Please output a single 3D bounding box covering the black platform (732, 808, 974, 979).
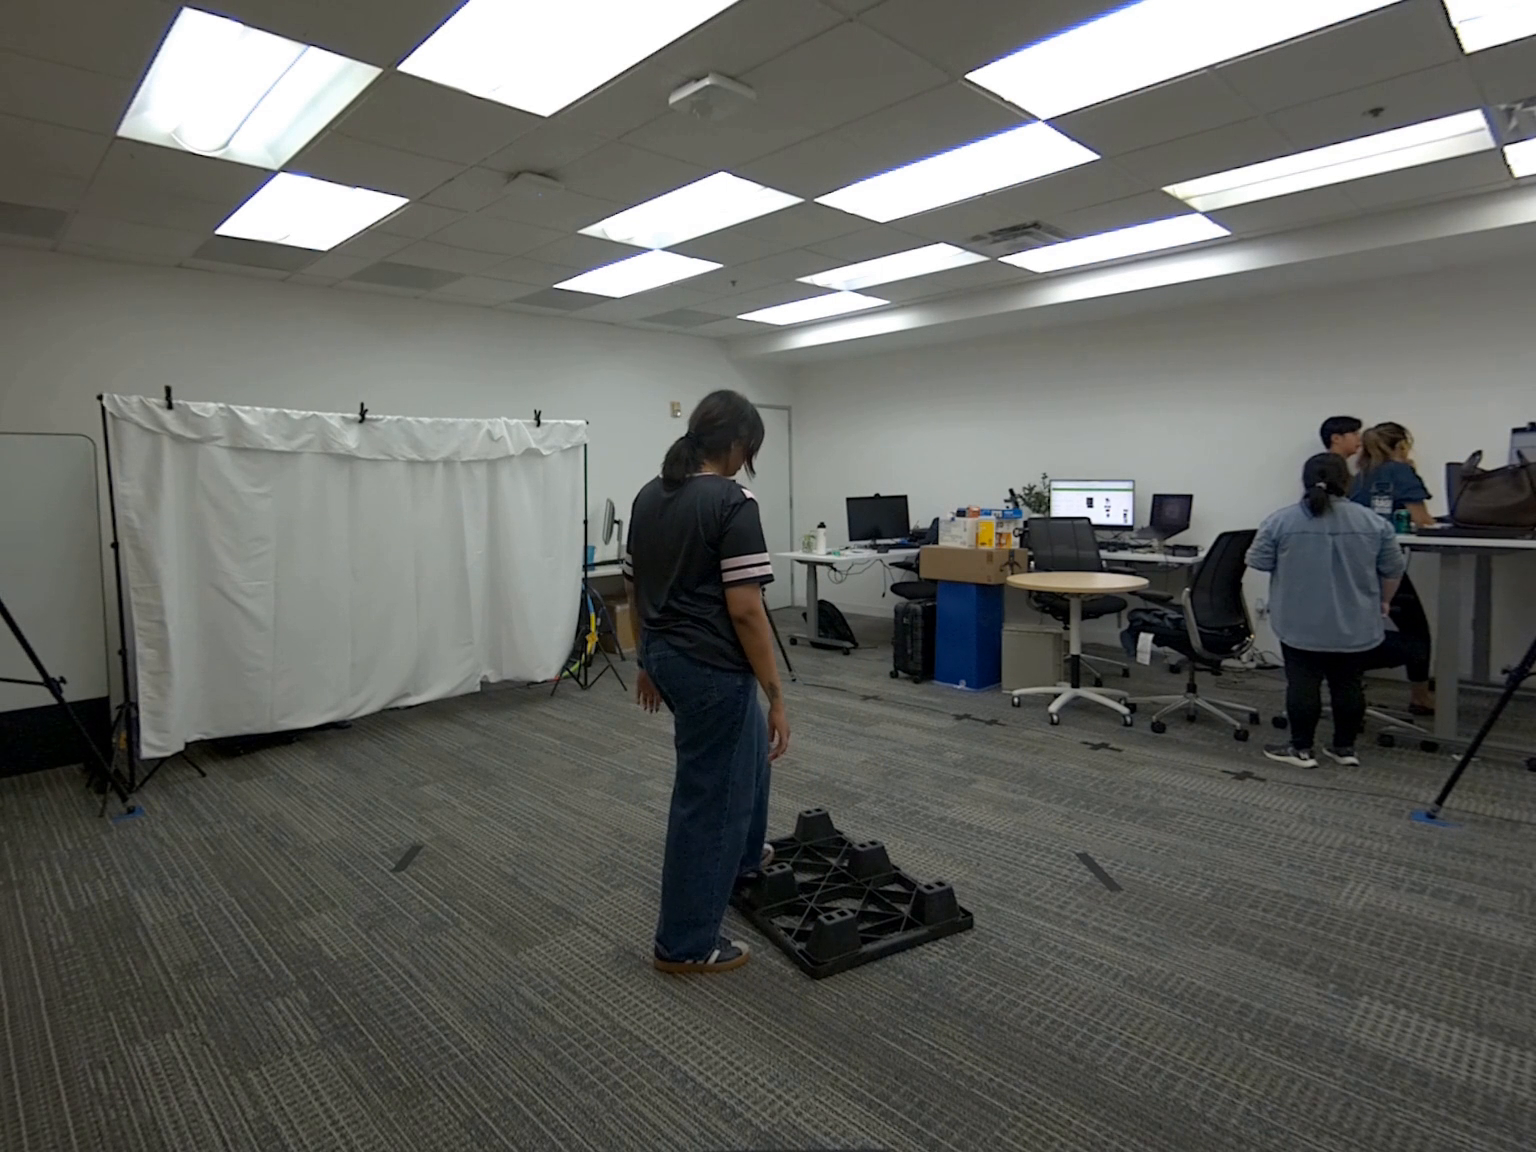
[{"bbox_3d":[0.183,1.005,2.864,0.591,0.143,0.828,-4,7,-29],"label":"black platform"}]
